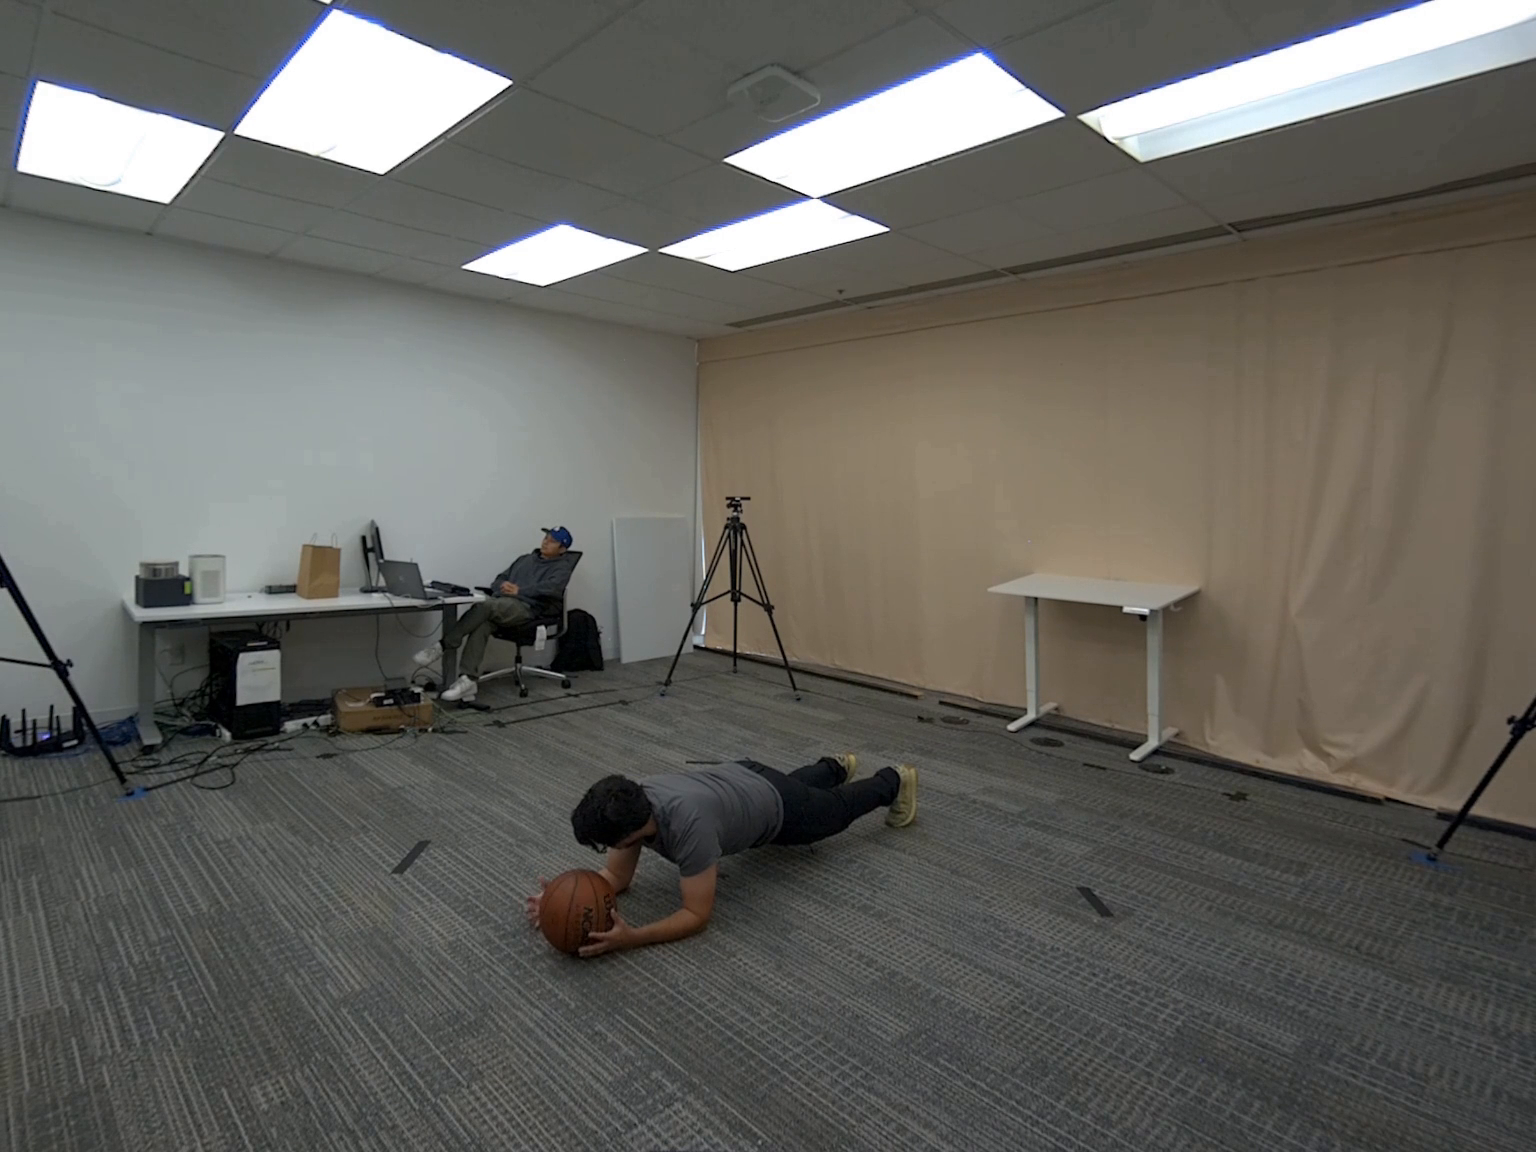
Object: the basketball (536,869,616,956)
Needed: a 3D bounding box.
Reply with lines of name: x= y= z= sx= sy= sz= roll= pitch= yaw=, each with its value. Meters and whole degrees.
basketball: x=-0.587 y=1.025 z=2.579 sx=0.236 sy=0.235 sz=0.237 roll=1 pitch=4 yaw=-1
